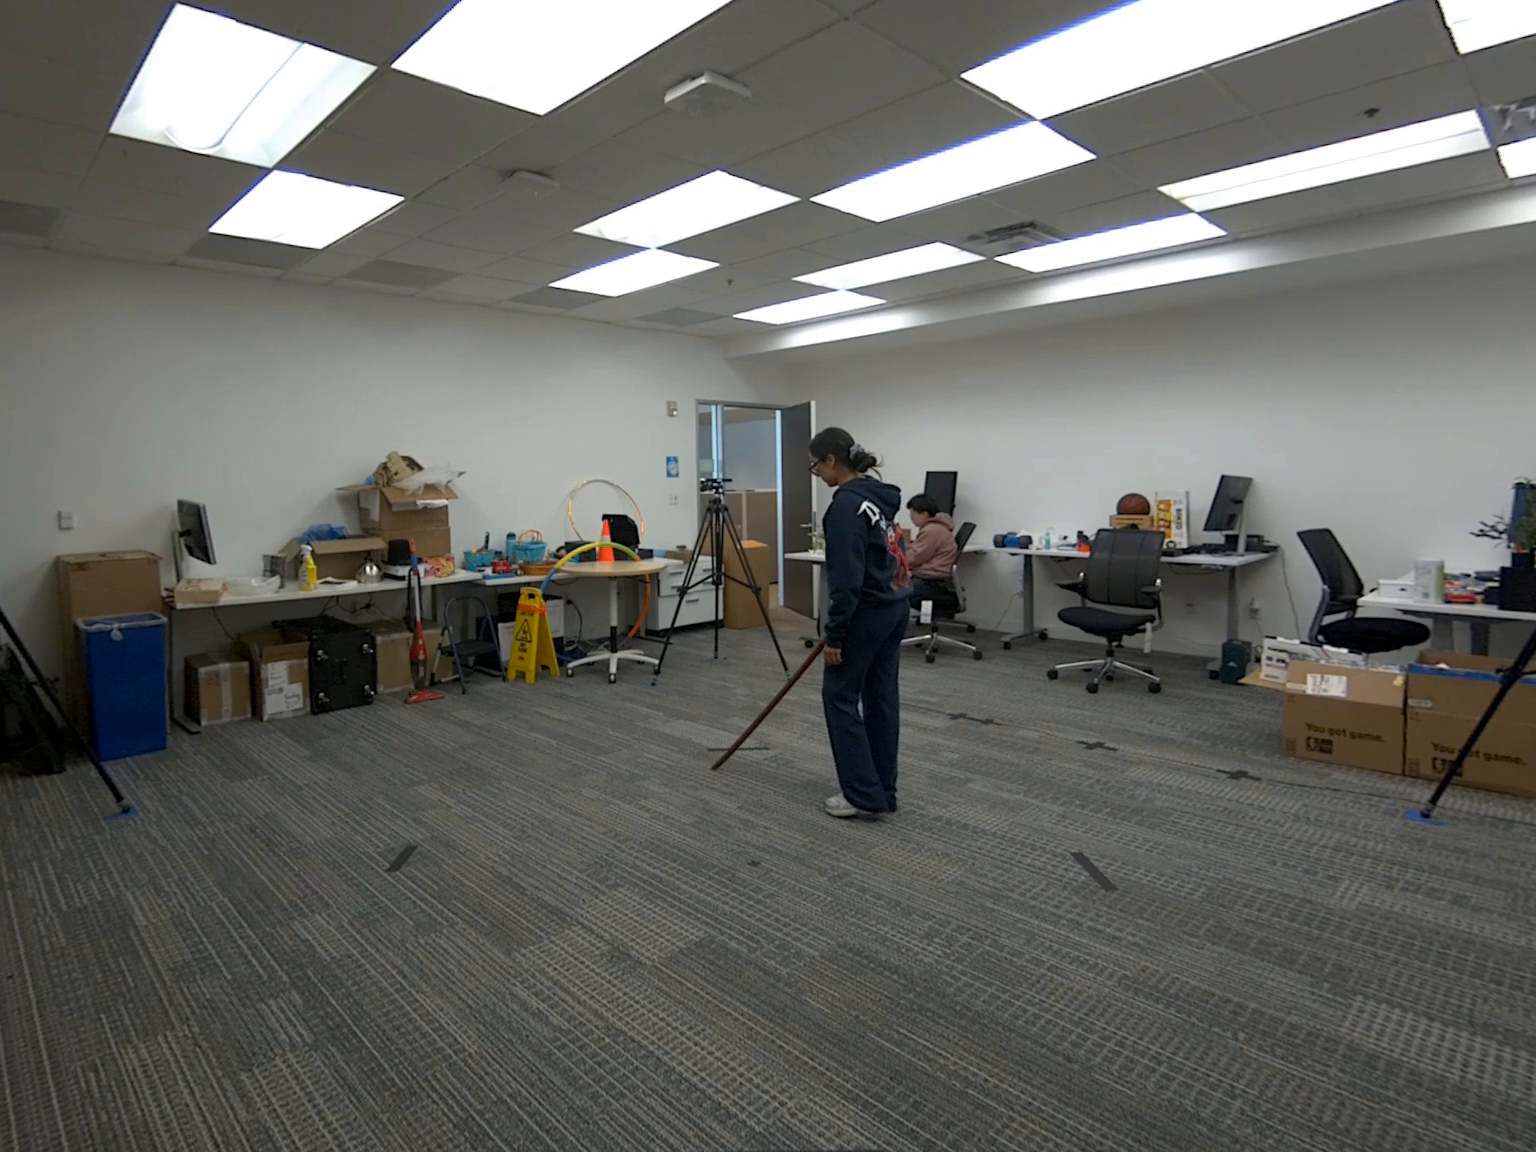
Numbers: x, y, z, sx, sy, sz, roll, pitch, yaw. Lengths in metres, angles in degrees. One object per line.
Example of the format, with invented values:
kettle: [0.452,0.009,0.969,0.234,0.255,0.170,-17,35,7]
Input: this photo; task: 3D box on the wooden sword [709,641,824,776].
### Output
wooden sword: [0.069,0.559,4.051,0.050,1.024,0.024,38,9,-15]
